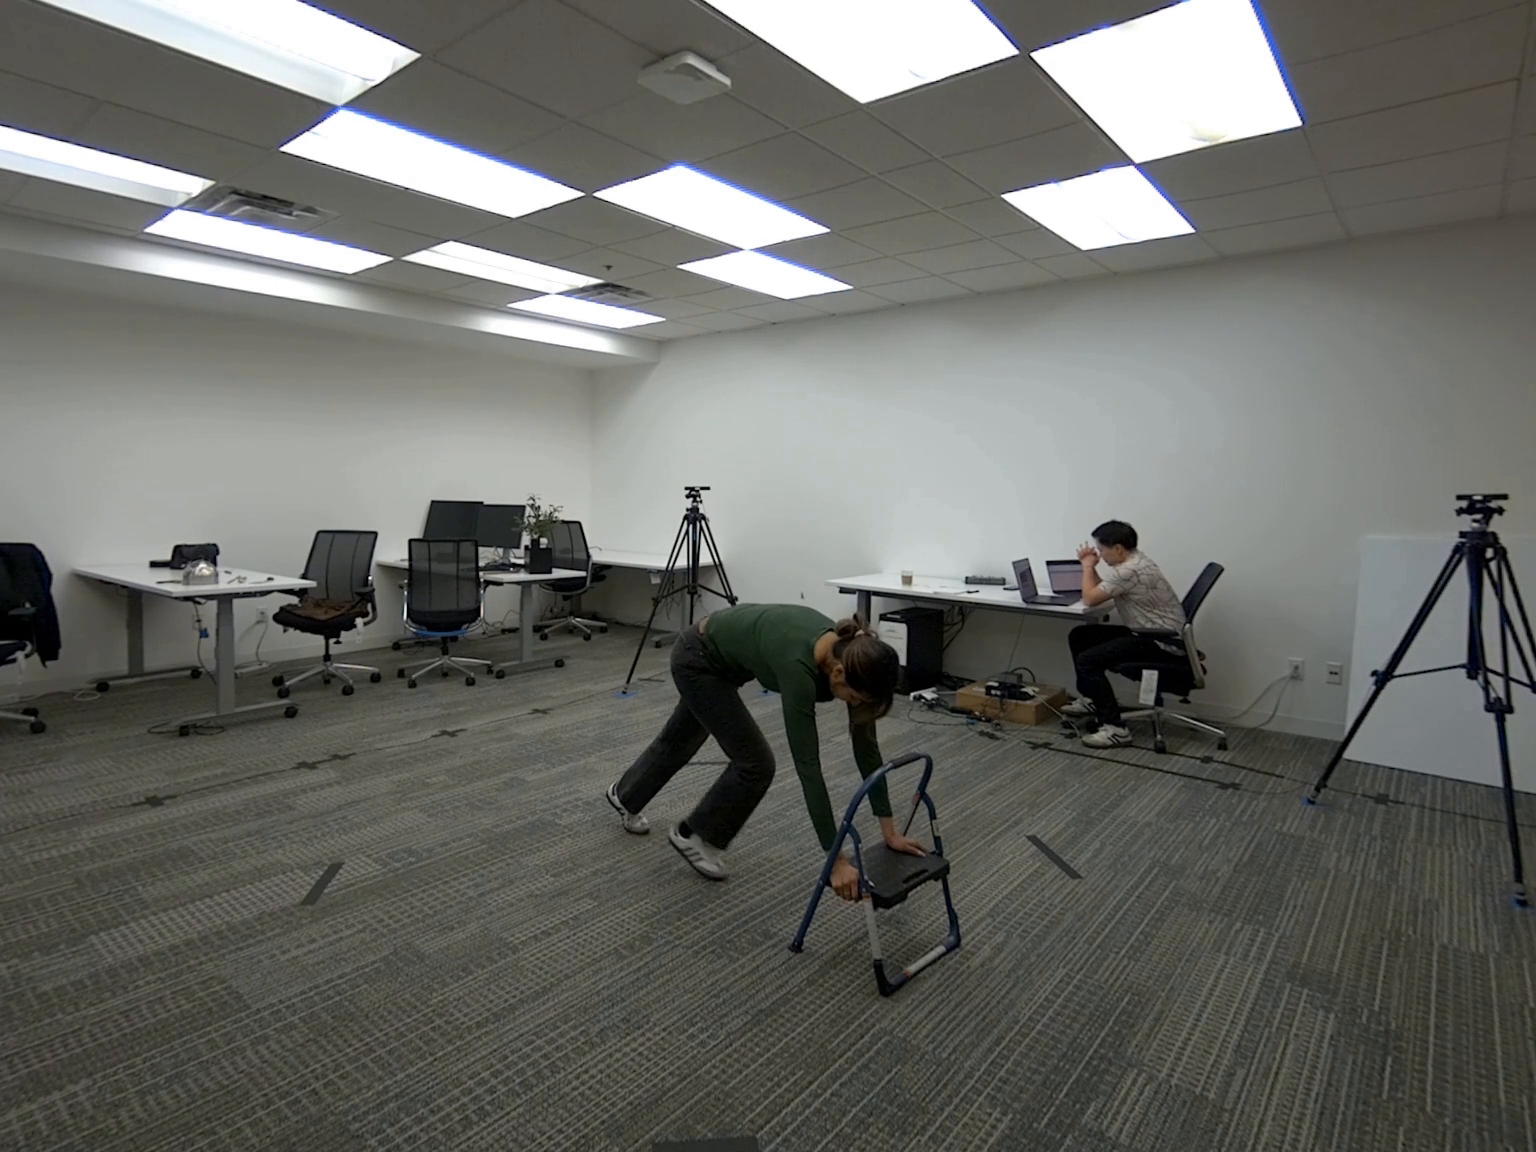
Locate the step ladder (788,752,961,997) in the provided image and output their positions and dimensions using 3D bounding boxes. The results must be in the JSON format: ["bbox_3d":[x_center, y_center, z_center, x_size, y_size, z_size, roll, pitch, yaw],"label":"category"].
[{"bbox_3d":[0.332,0.828,2.579,0.361,0.604,0.417,5,5,42],"label":"step ladder"}]
